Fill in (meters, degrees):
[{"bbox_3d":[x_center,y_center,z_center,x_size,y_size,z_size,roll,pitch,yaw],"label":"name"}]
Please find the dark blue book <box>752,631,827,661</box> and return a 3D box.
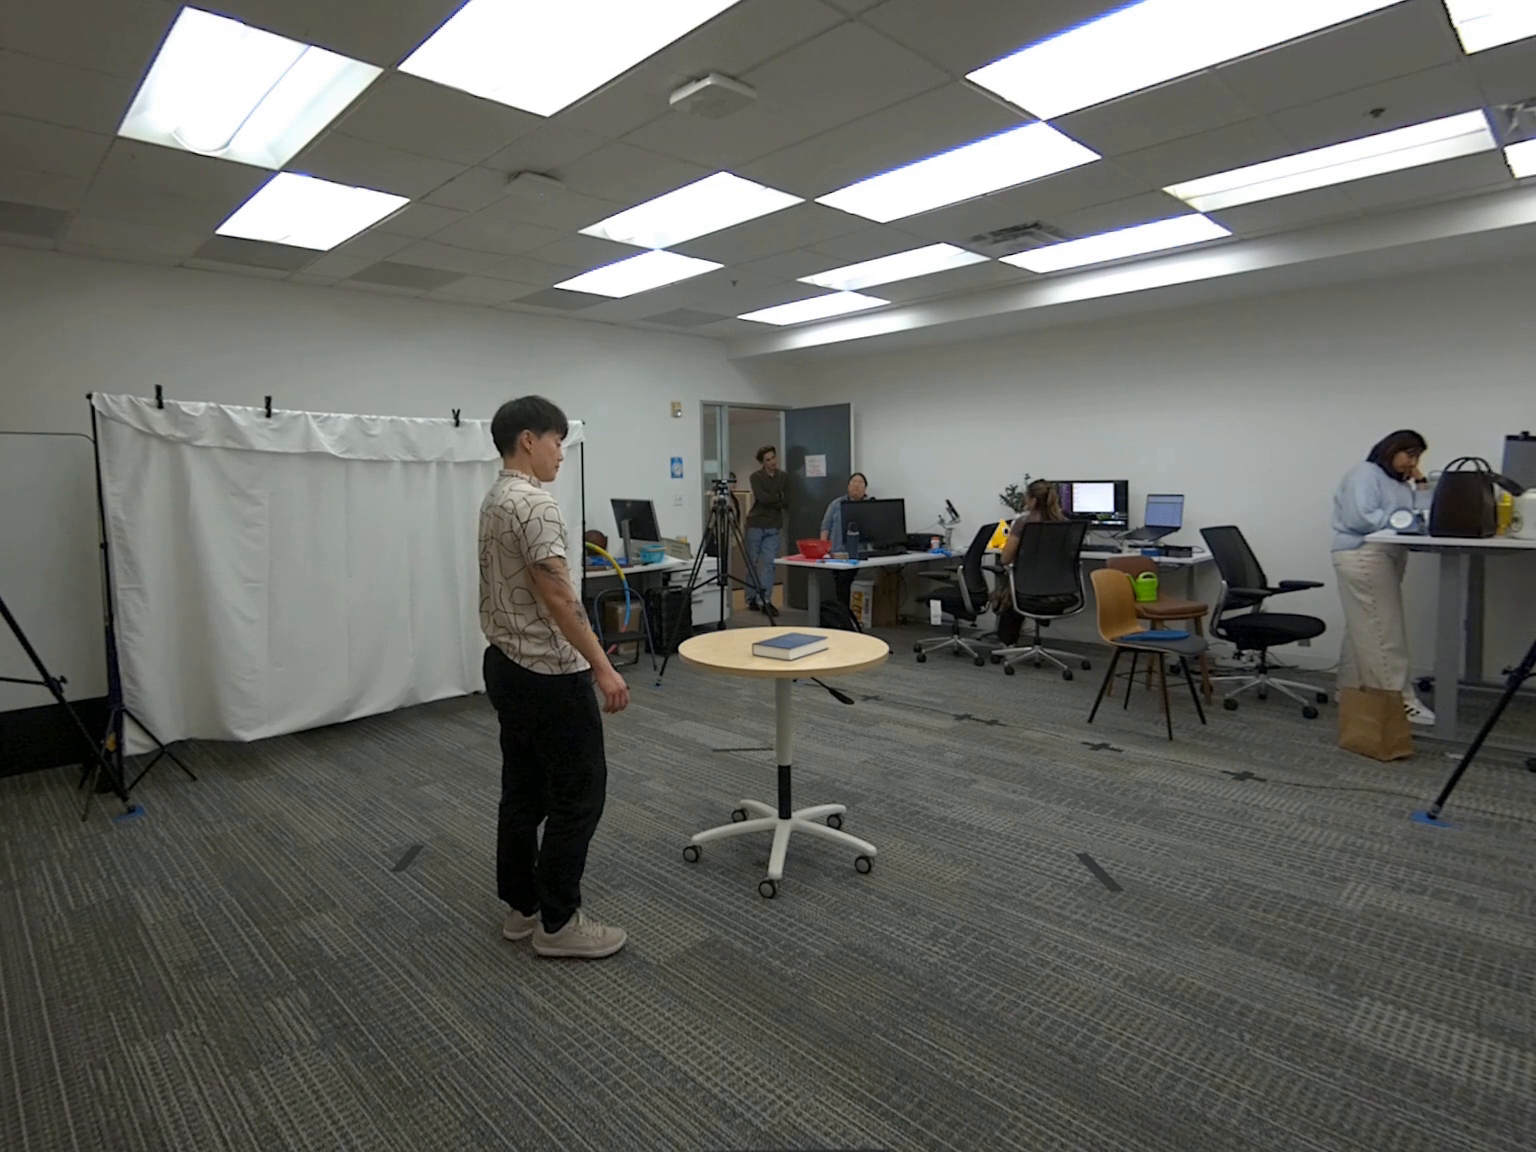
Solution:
[{"bbox_3d":[0.091,0.248,3.014,0.168,0.045,0.239,4,8,36],"label":"dark blue book"}]
